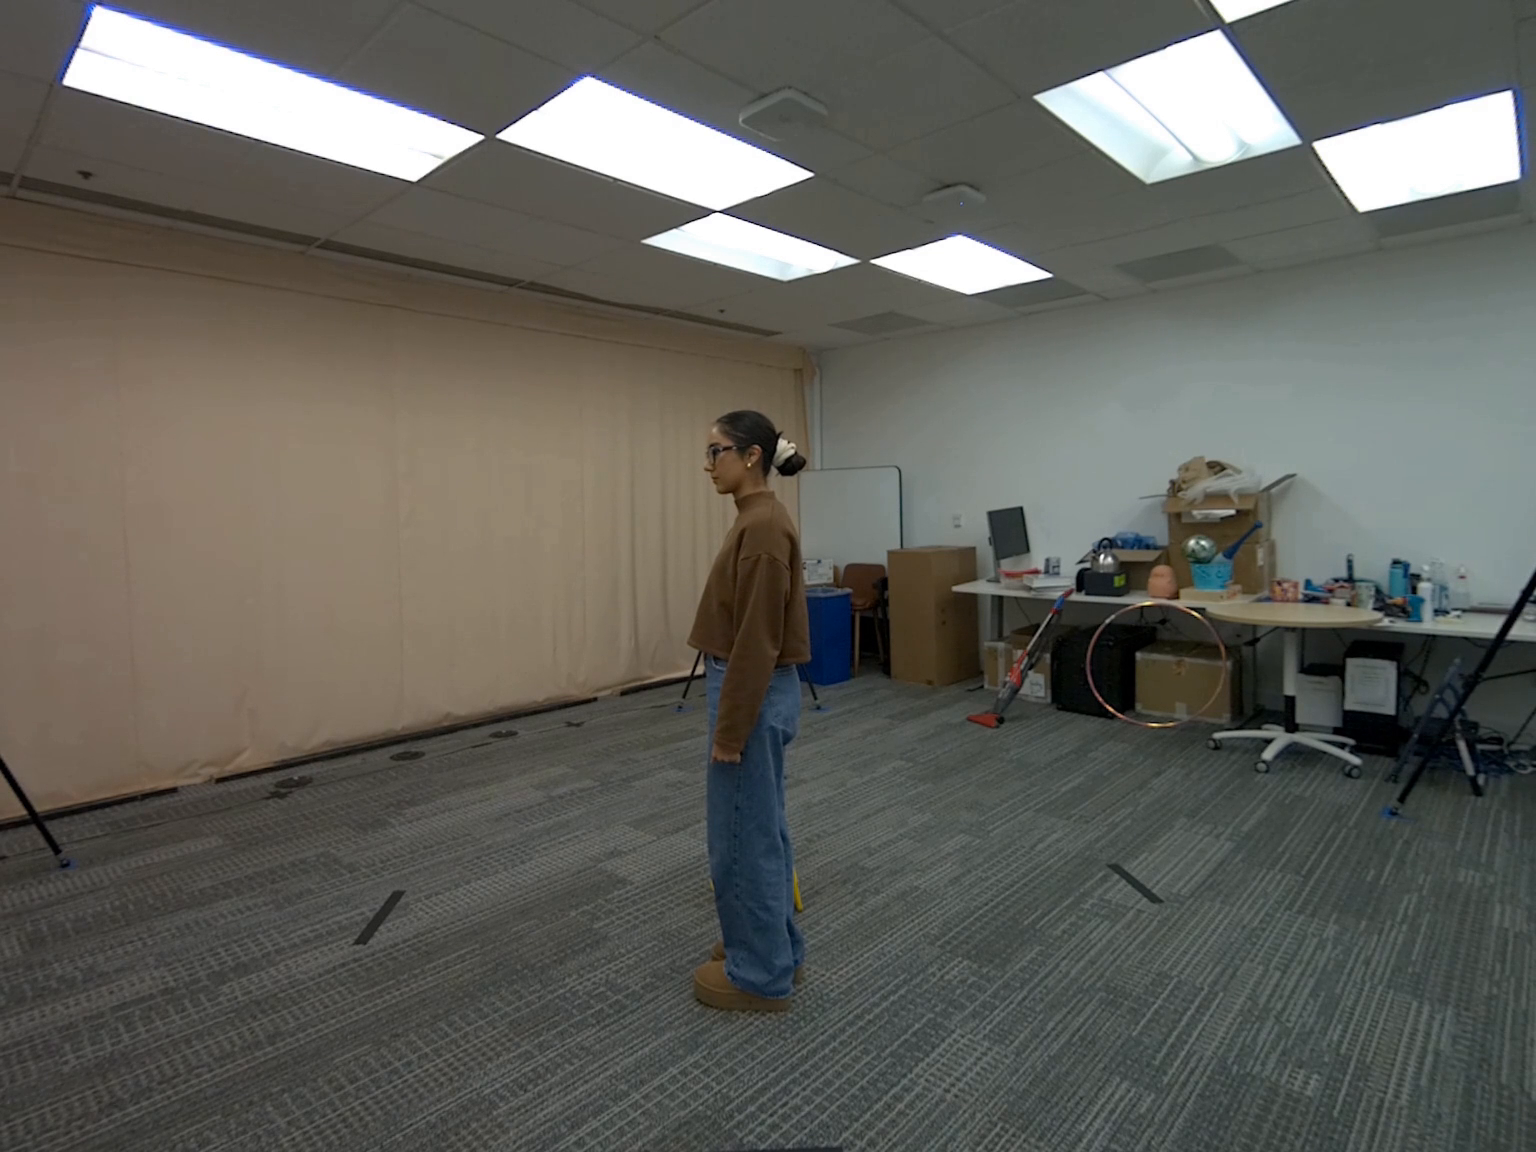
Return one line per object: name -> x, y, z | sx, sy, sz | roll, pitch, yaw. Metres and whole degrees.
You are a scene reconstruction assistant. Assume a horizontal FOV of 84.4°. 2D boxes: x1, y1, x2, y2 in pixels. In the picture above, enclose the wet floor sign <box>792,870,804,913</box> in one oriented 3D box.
wet floor sign -> -0.049, 0.815, 2.970 | 0.286, 0.645, 0.286 | -2, 2, -12
